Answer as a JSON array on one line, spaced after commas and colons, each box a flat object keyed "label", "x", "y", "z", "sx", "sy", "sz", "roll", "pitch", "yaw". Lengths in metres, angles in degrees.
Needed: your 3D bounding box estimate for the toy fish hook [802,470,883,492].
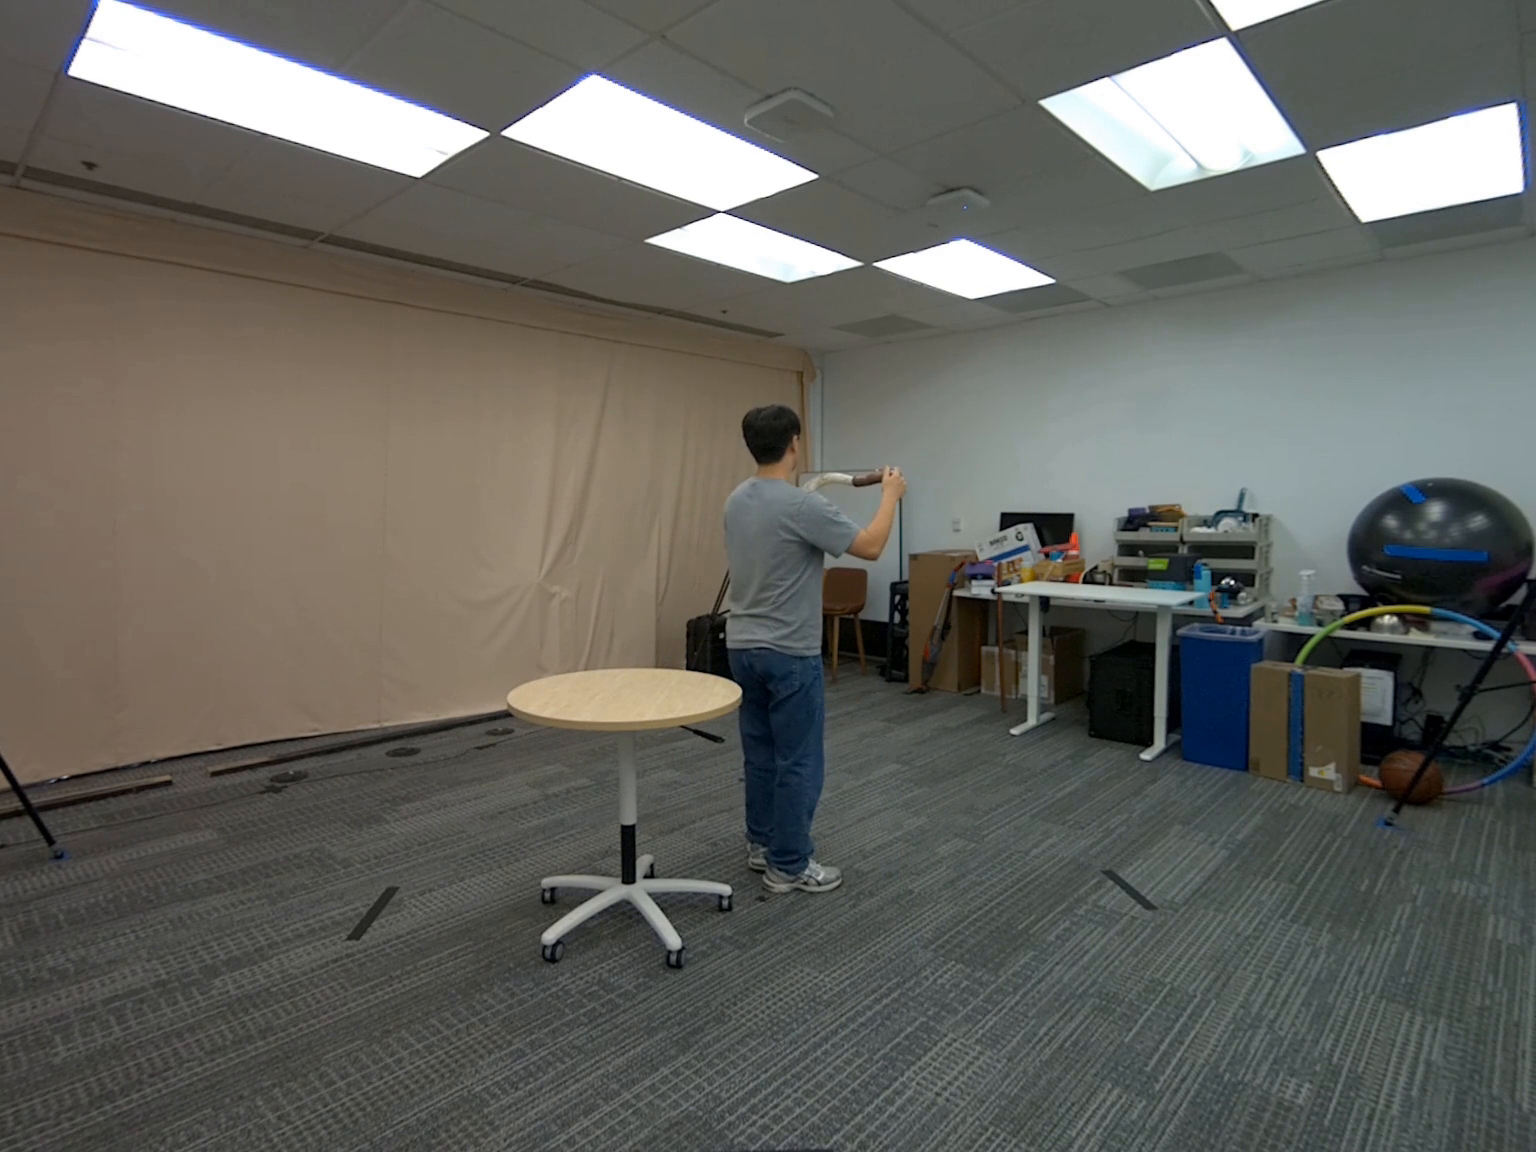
[{"label": "toy fish hook", "x": 0.290, "y": -0.330, "z": 3.308, "sx": 0.047, "sy": 0.225, "sz": 0.522, "roll": 35, "pitch": -22, "yaw": -32}]
